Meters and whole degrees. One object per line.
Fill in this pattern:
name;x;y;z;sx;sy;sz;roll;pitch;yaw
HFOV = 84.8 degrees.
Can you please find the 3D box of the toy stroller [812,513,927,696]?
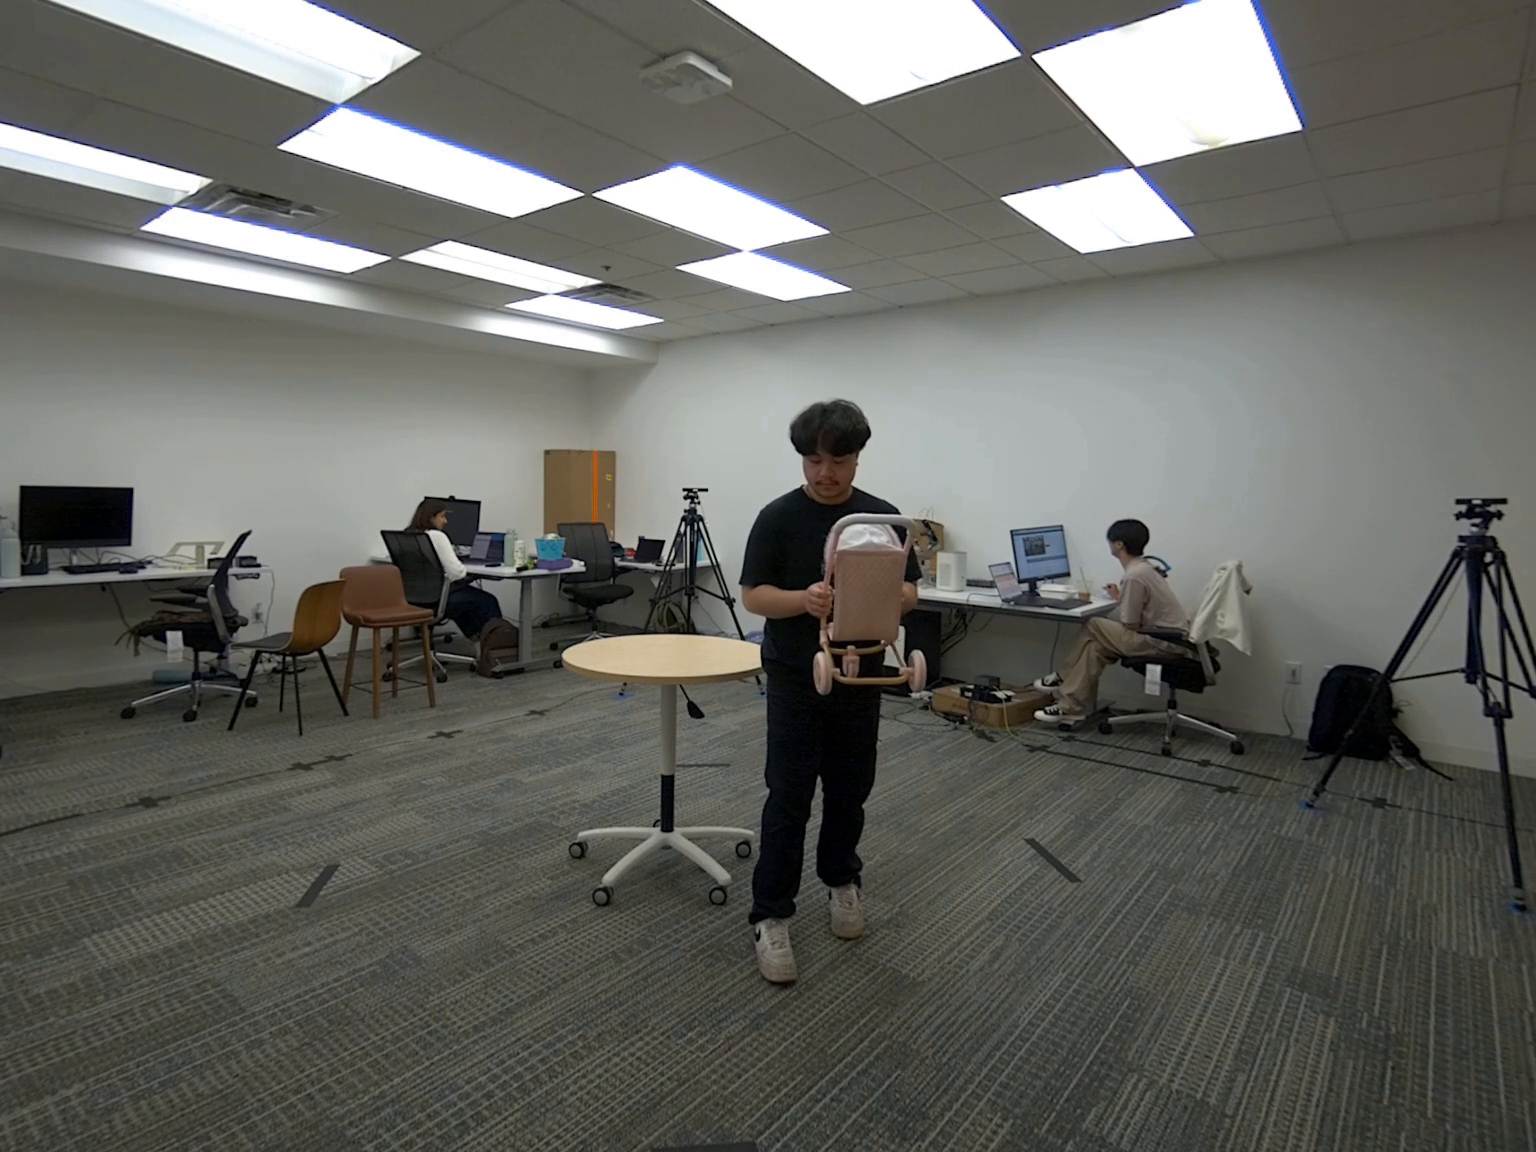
toy stroller;0.253;0.071;2.283;0.282;0.529;0.345;0;11;0
